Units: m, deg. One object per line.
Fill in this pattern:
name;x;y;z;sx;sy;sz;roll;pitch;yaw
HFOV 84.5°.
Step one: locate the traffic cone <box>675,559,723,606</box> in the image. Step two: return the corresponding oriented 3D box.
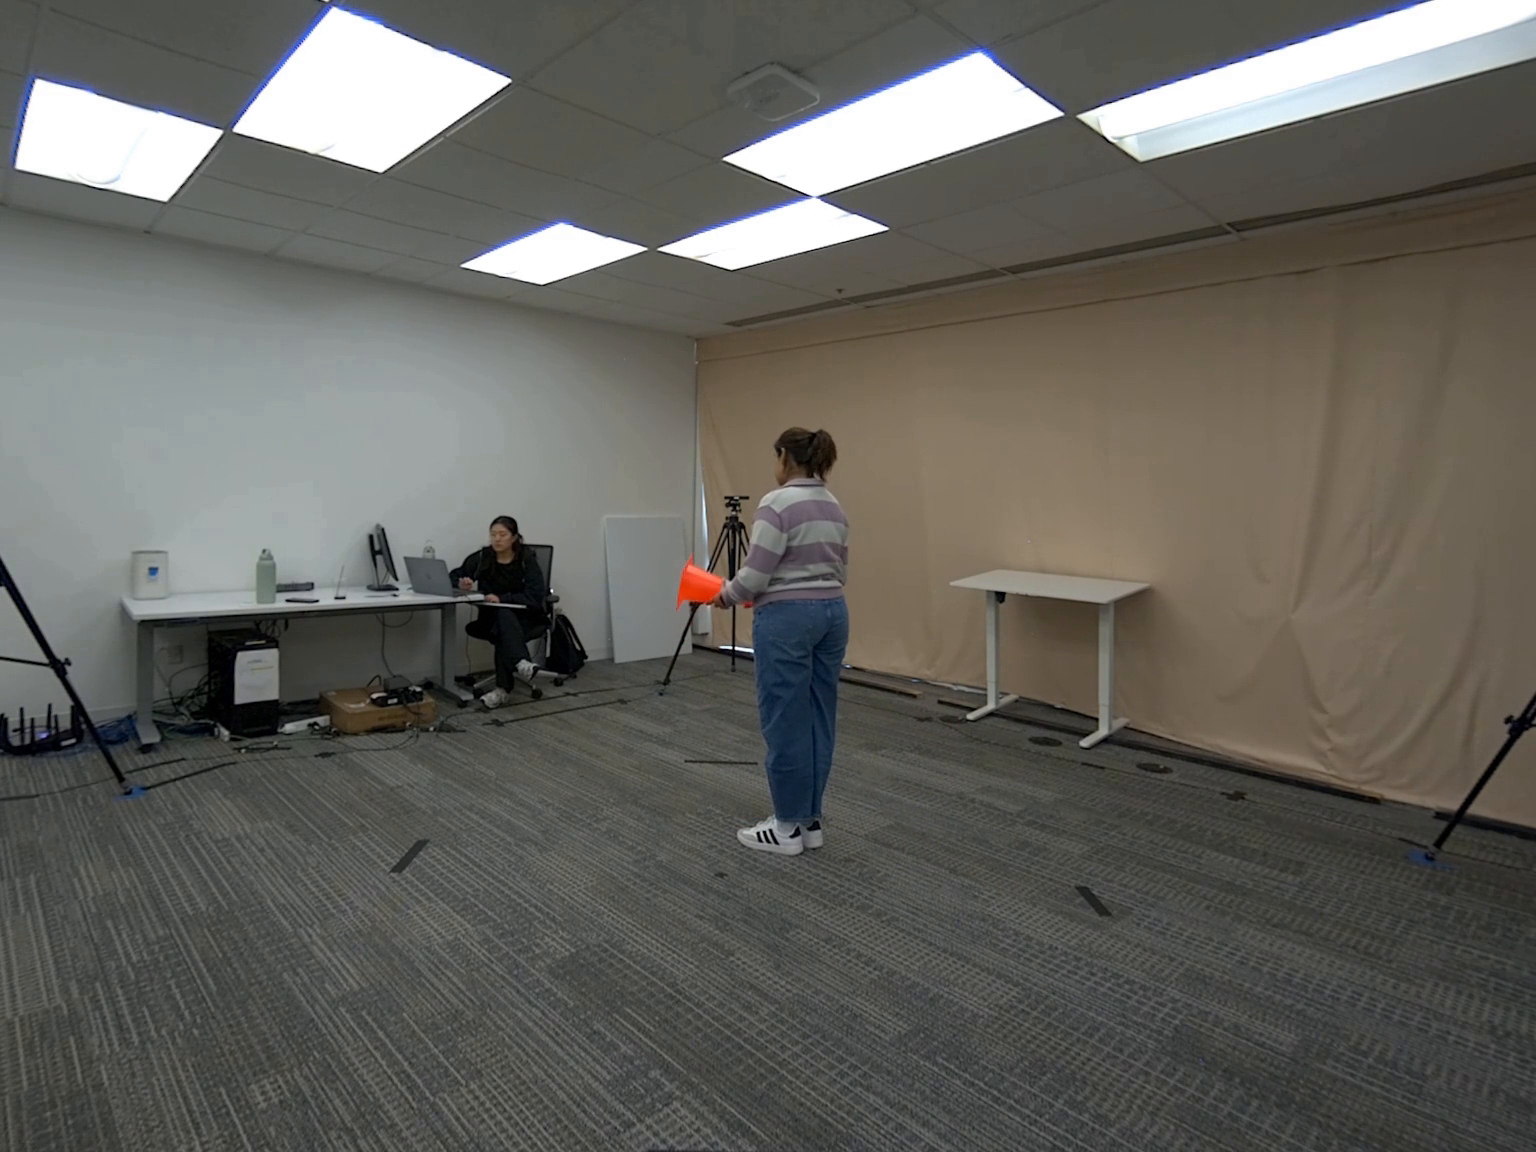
traffic cone;-0.180;0.078;3.528;0.387;0.201;0.205;14;22;10
